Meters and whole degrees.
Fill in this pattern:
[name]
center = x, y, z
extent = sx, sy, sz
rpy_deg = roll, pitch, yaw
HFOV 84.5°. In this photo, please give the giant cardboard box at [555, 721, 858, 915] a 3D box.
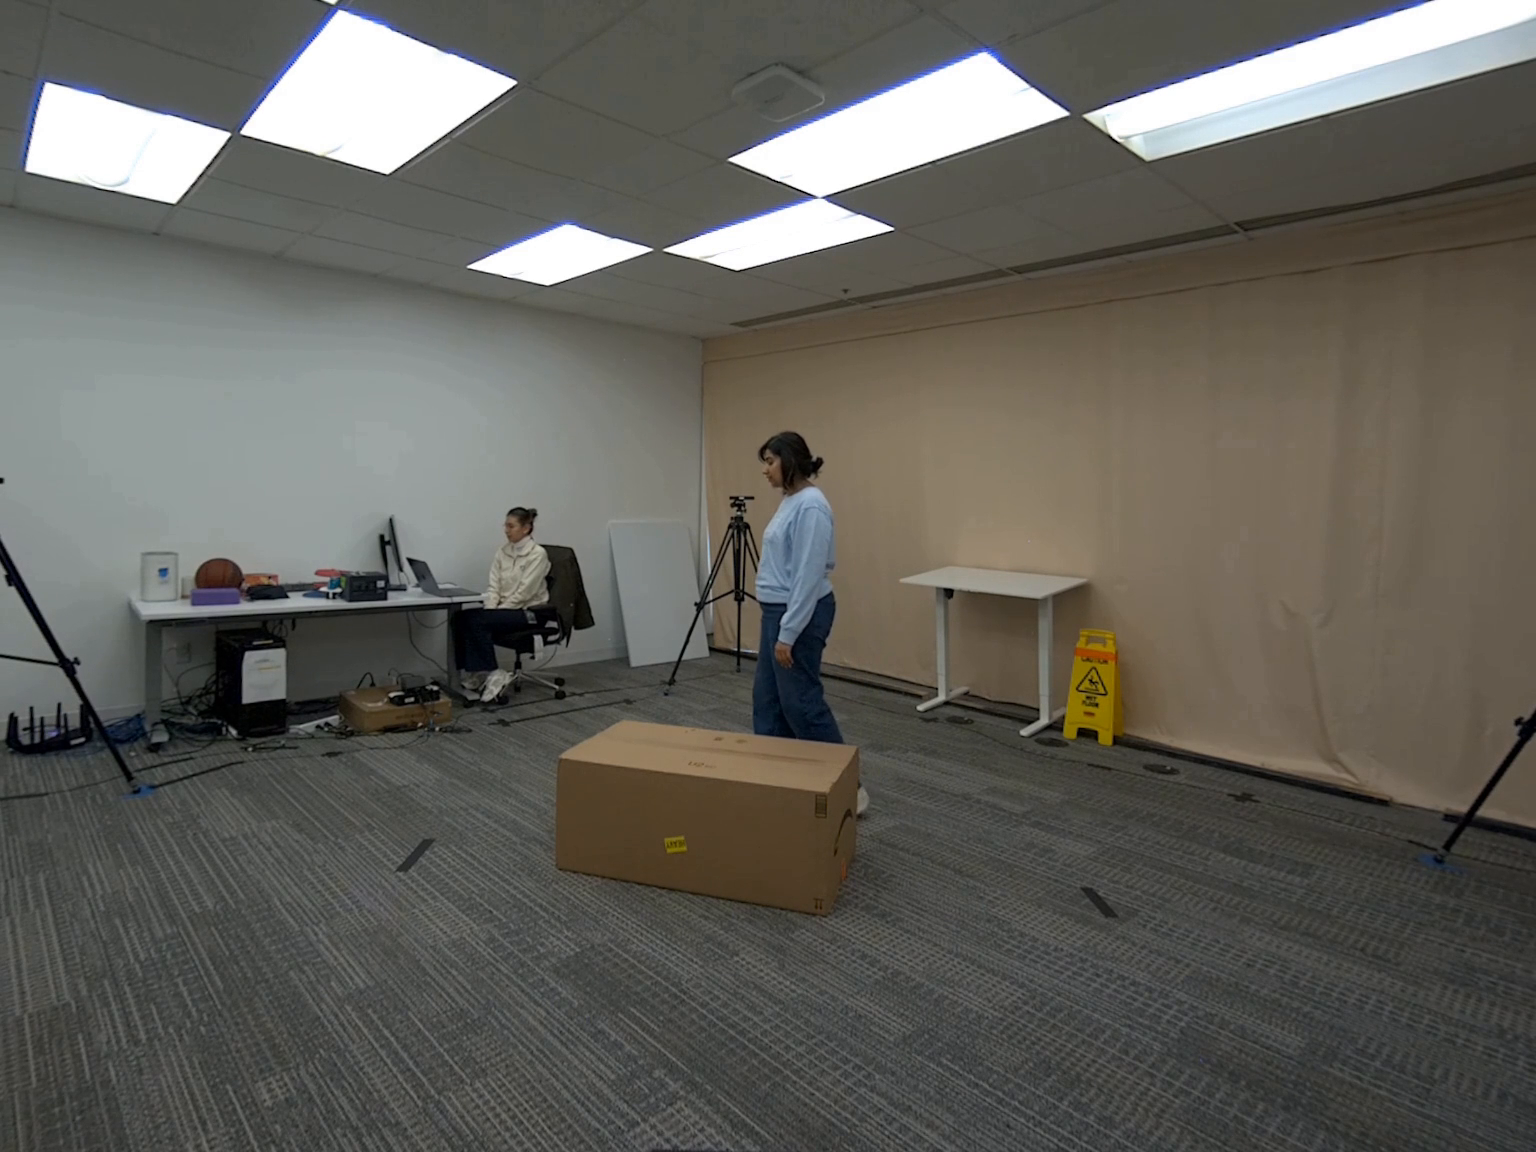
[giant cardboard box]
center = -0.218, 0.875, 3.214
extent = 1.041, 0.425, 0.571
rpy_deg = 3, 4, 18
